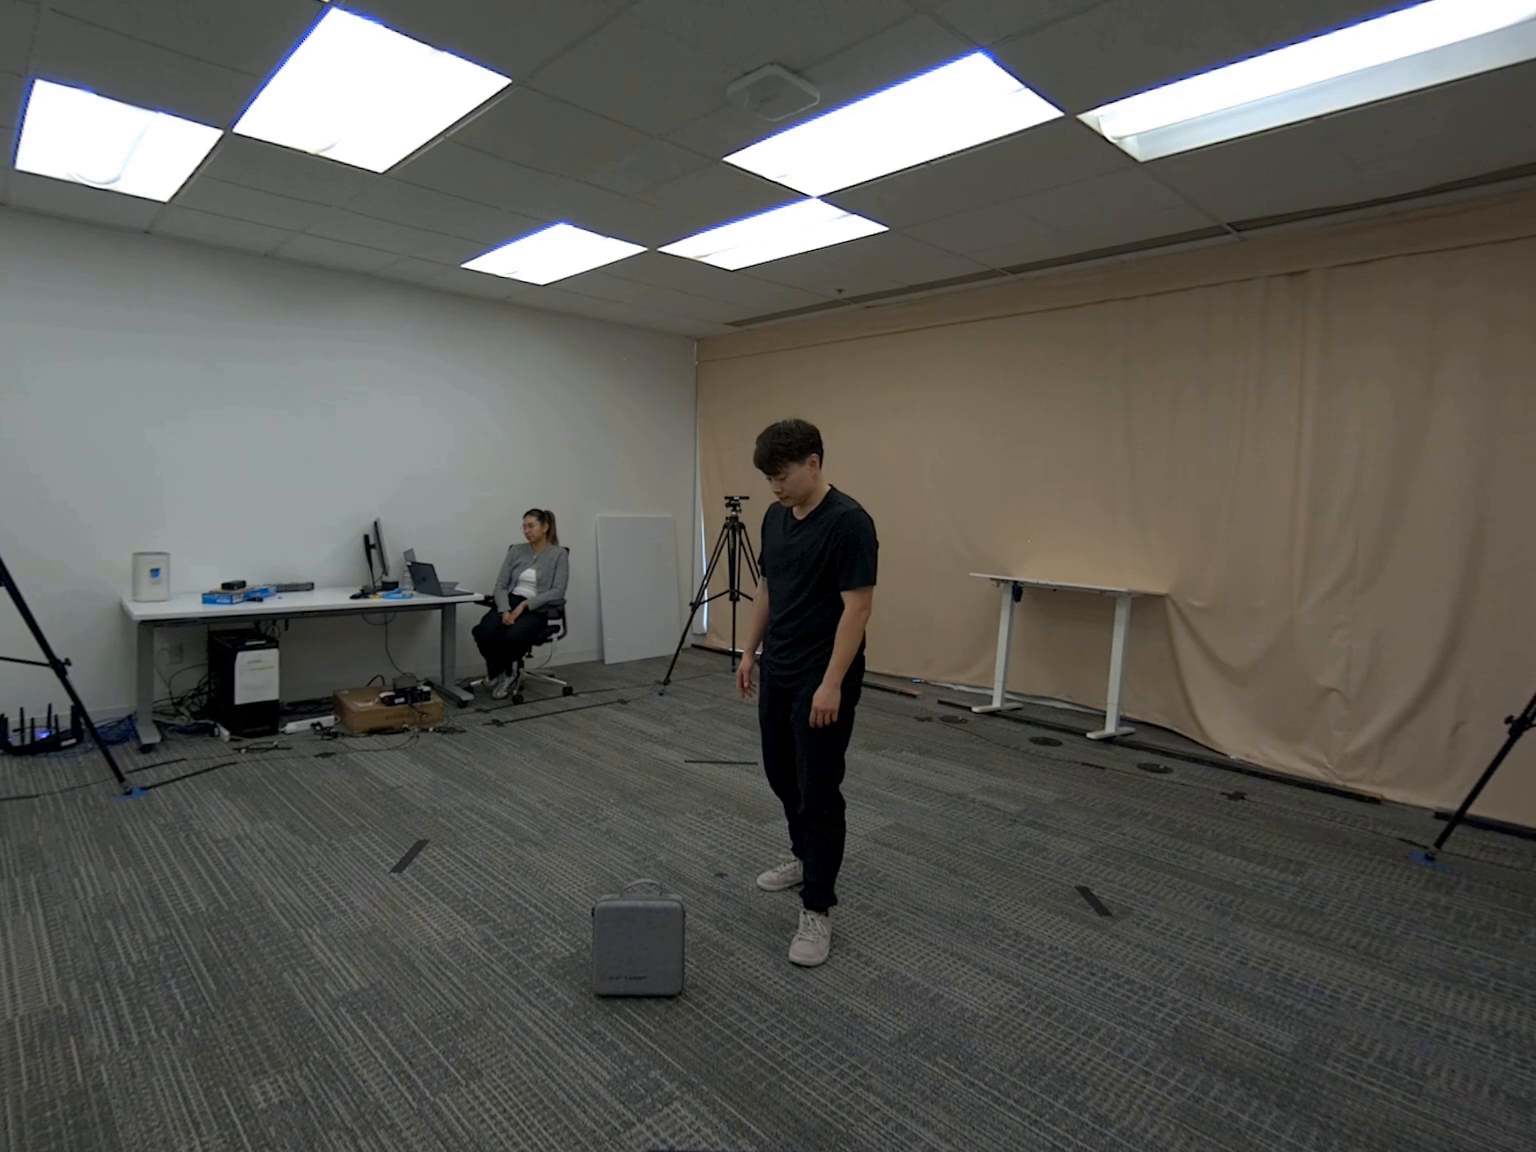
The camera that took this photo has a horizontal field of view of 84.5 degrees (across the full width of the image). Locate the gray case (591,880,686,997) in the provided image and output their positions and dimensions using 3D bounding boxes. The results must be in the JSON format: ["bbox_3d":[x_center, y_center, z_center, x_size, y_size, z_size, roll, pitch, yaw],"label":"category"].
[{"bbox_3d":[-0.373,1.032,2.370,0.257,0.261,0.104,2,-5,0],"label":"gray case"}]
